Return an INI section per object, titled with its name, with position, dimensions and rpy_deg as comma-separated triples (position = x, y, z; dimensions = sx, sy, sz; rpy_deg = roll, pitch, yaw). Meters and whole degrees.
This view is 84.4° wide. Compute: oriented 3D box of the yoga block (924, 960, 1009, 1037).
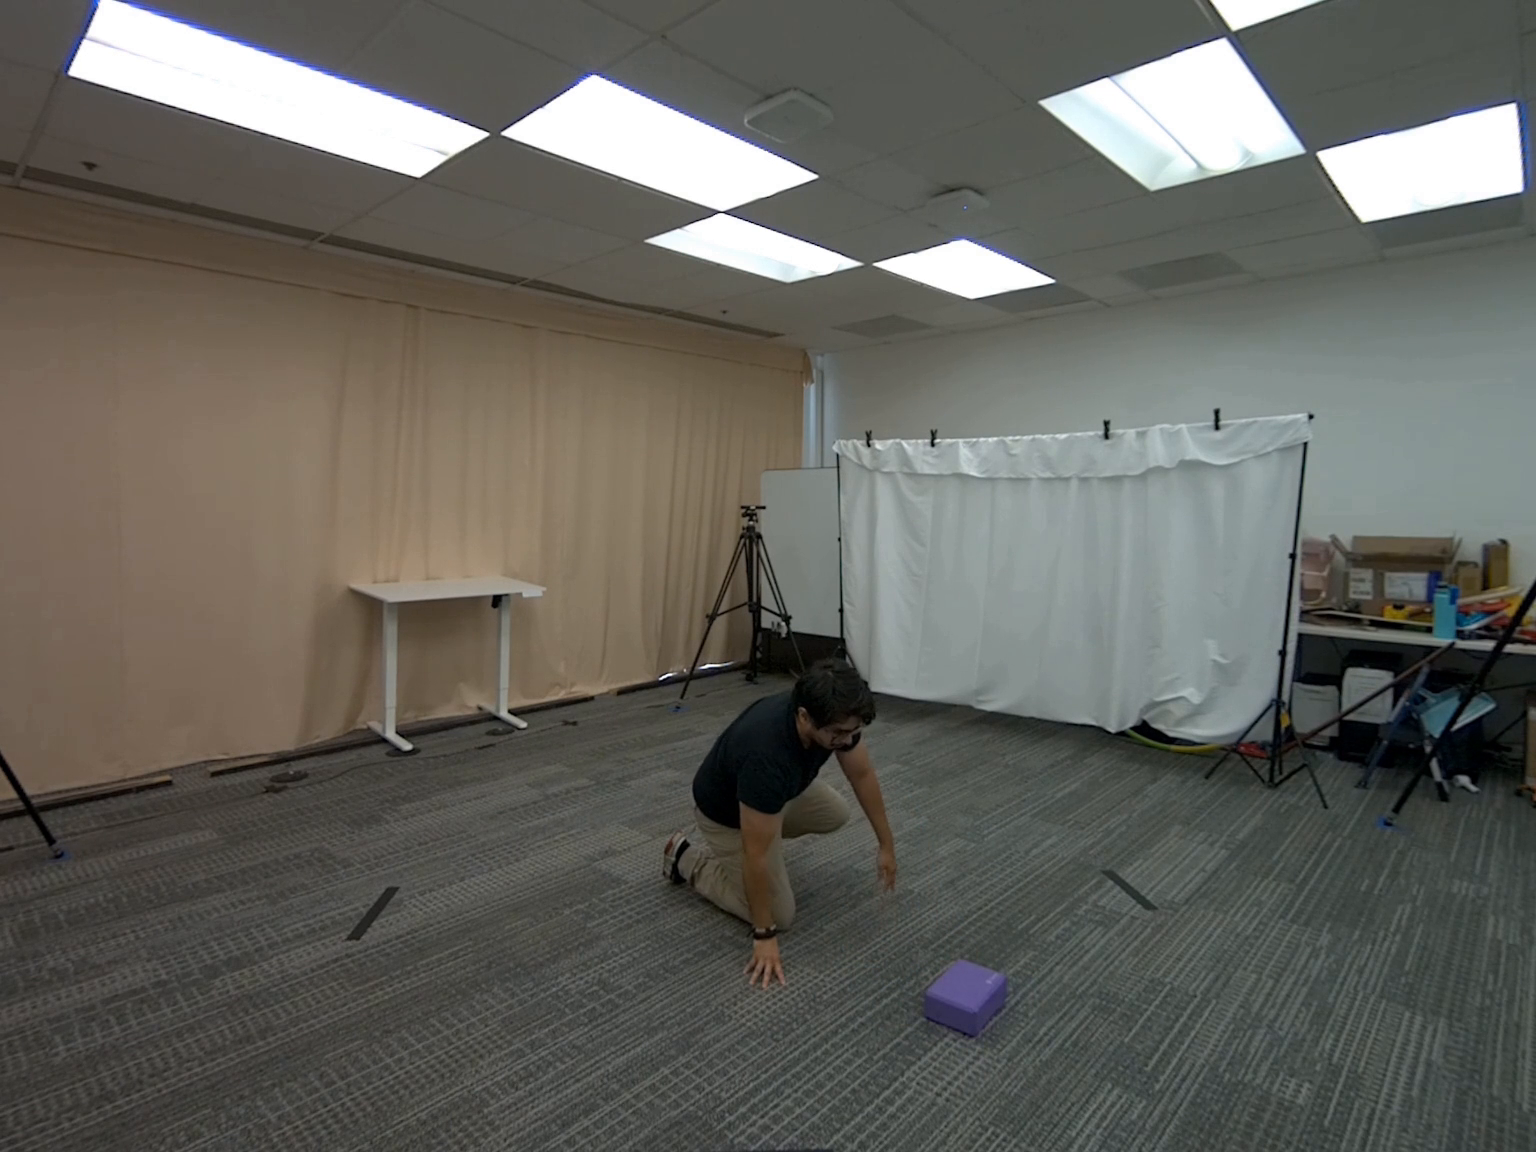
[yoga block]
position = 0.555, 1.160, 2.322
dimensions = 0.154, 0.076, 0.222
rpy_deg = 4, 5, 38
